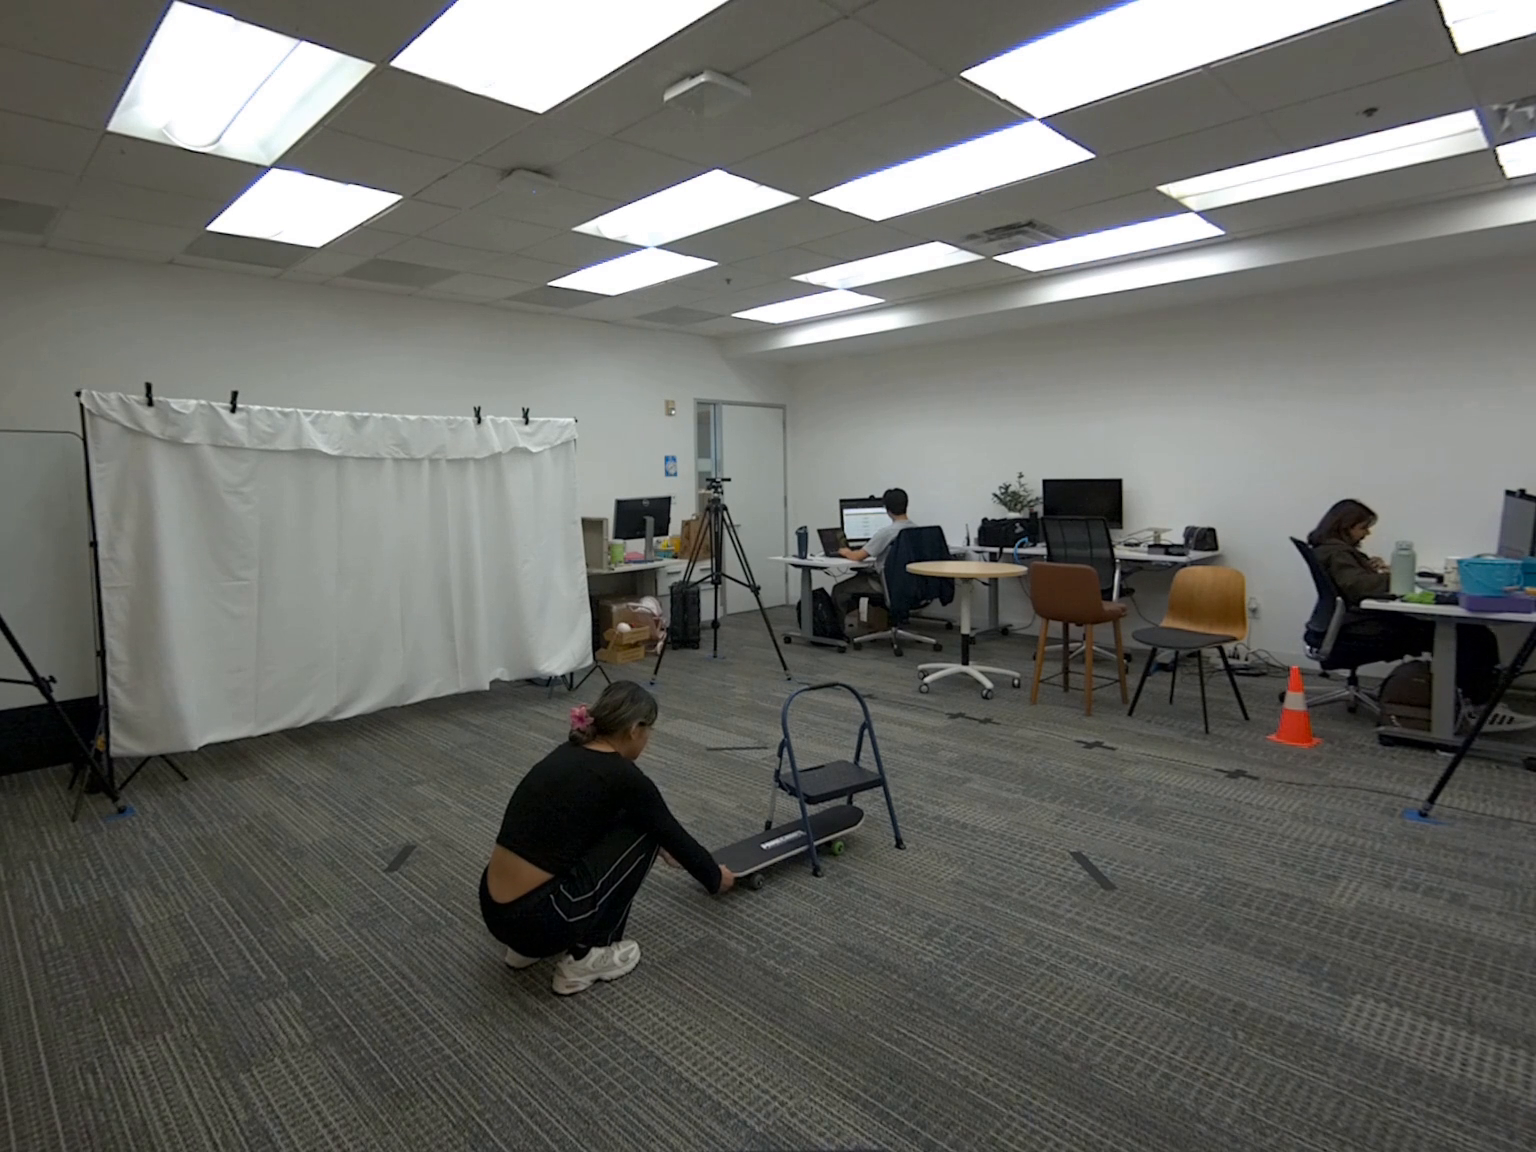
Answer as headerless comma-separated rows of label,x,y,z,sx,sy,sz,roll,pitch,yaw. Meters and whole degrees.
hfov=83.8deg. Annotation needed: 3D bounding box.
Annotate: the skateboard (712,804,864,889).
skateboard,0.067,0.987,3.092,0.765,0.110,0.199,-7,7,-40
